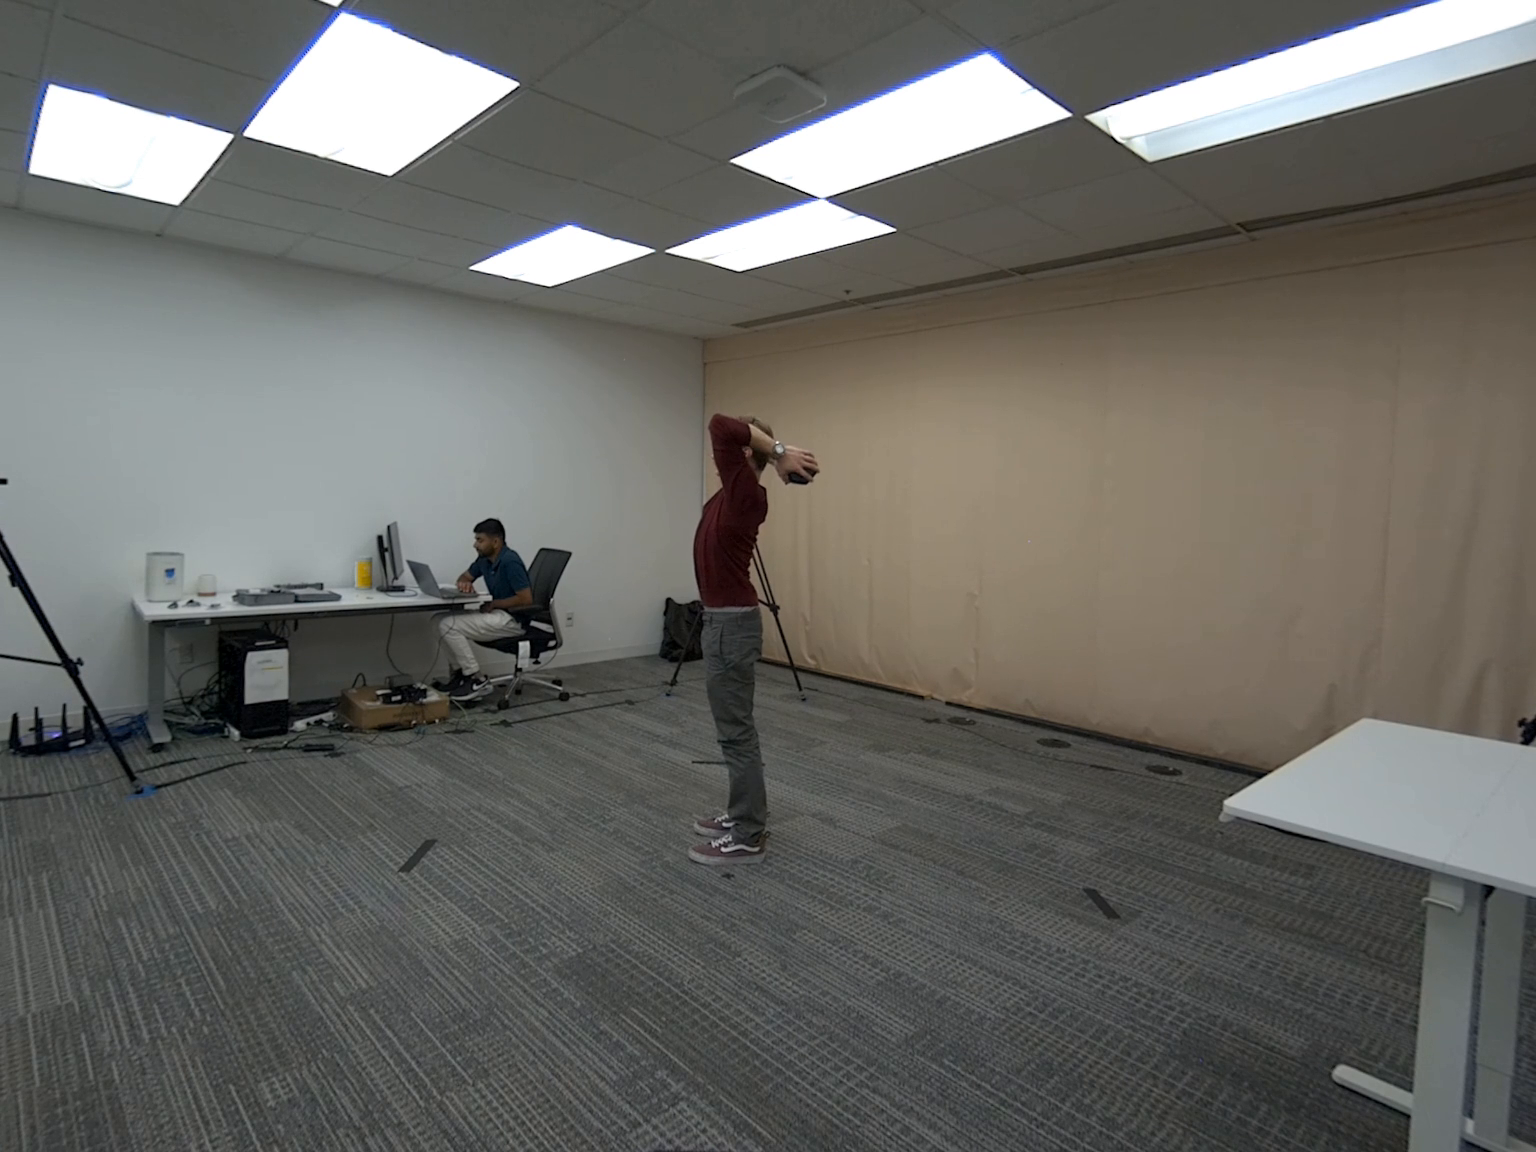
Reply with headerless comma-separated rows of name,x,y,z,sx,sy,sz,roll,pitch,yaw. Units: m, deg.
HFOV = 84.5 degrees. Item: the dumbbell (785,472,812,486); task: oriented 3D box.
dumbbell,0.104,-0.426,3.278,0.109,0.123,0.293,-20,3,7
